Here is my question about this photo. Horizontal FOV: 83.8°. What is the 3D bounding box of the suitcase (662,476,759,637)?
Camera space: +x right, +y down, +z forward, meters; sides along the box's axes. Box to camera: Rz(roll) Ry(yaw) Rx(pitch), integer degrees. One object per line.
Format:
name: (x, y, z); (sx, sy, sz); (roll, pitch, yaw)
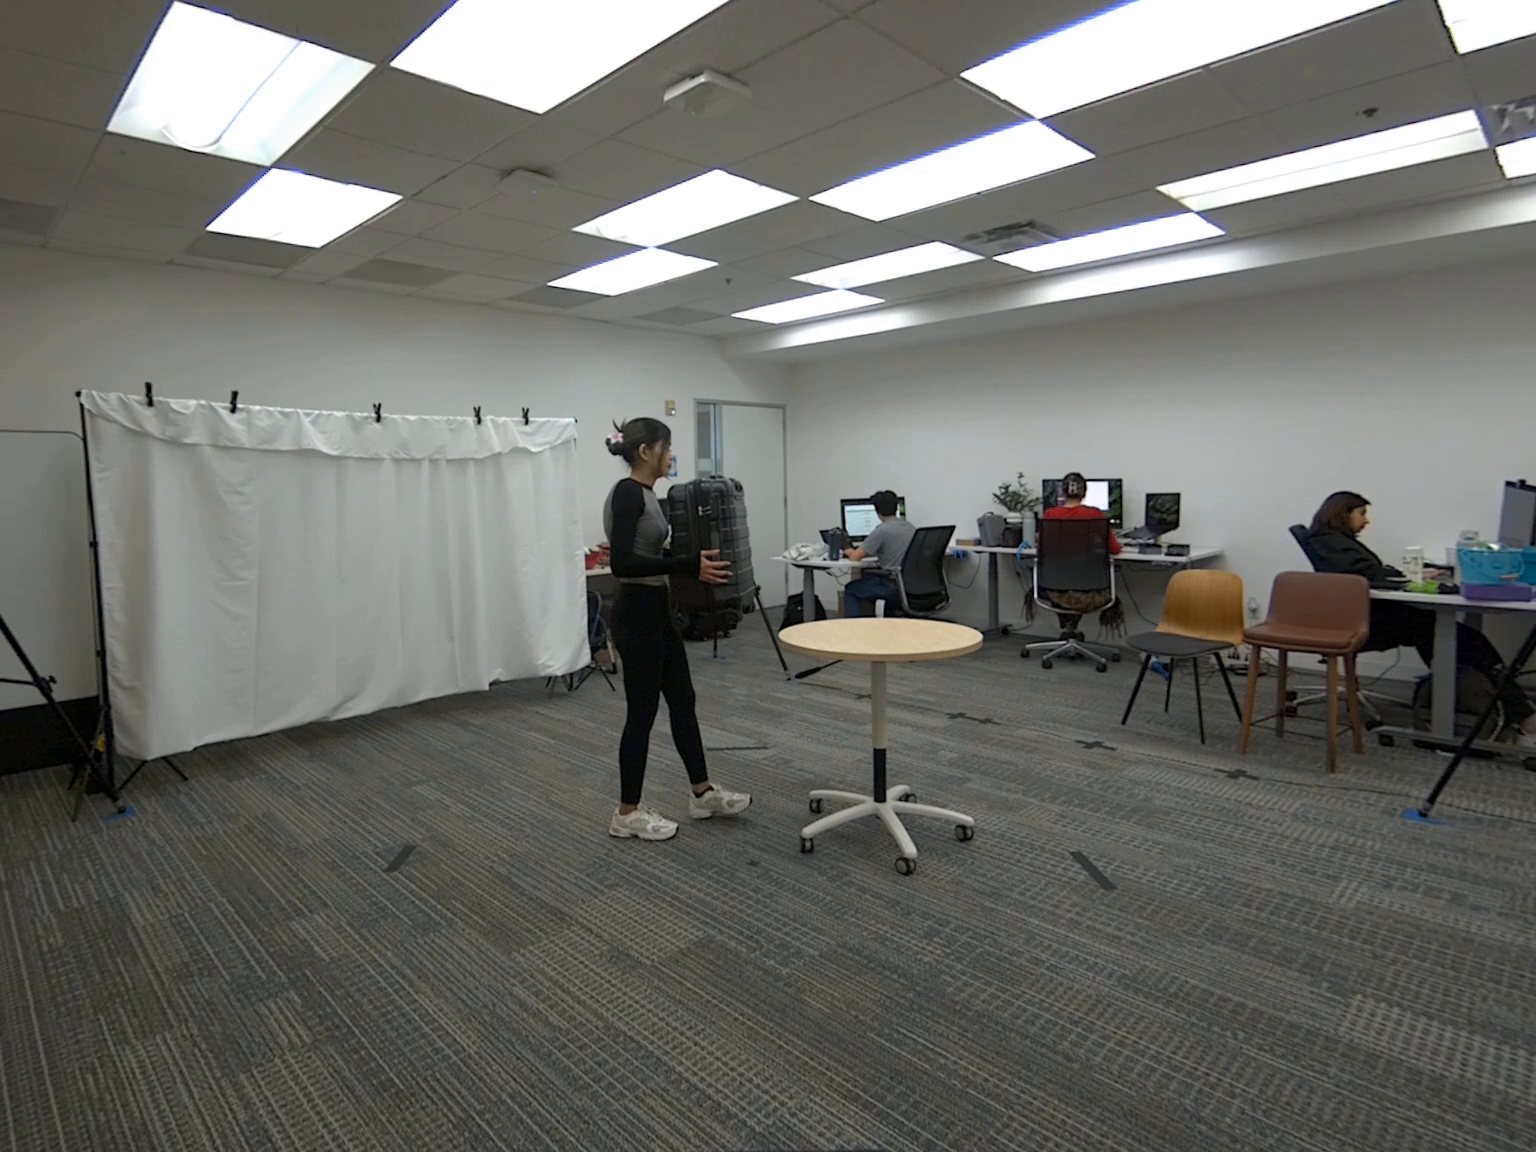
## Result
suitcase: (-0.208, -0.109, 3.272); (0.251, 0.548, 0.372); (-5, 3, 10)
